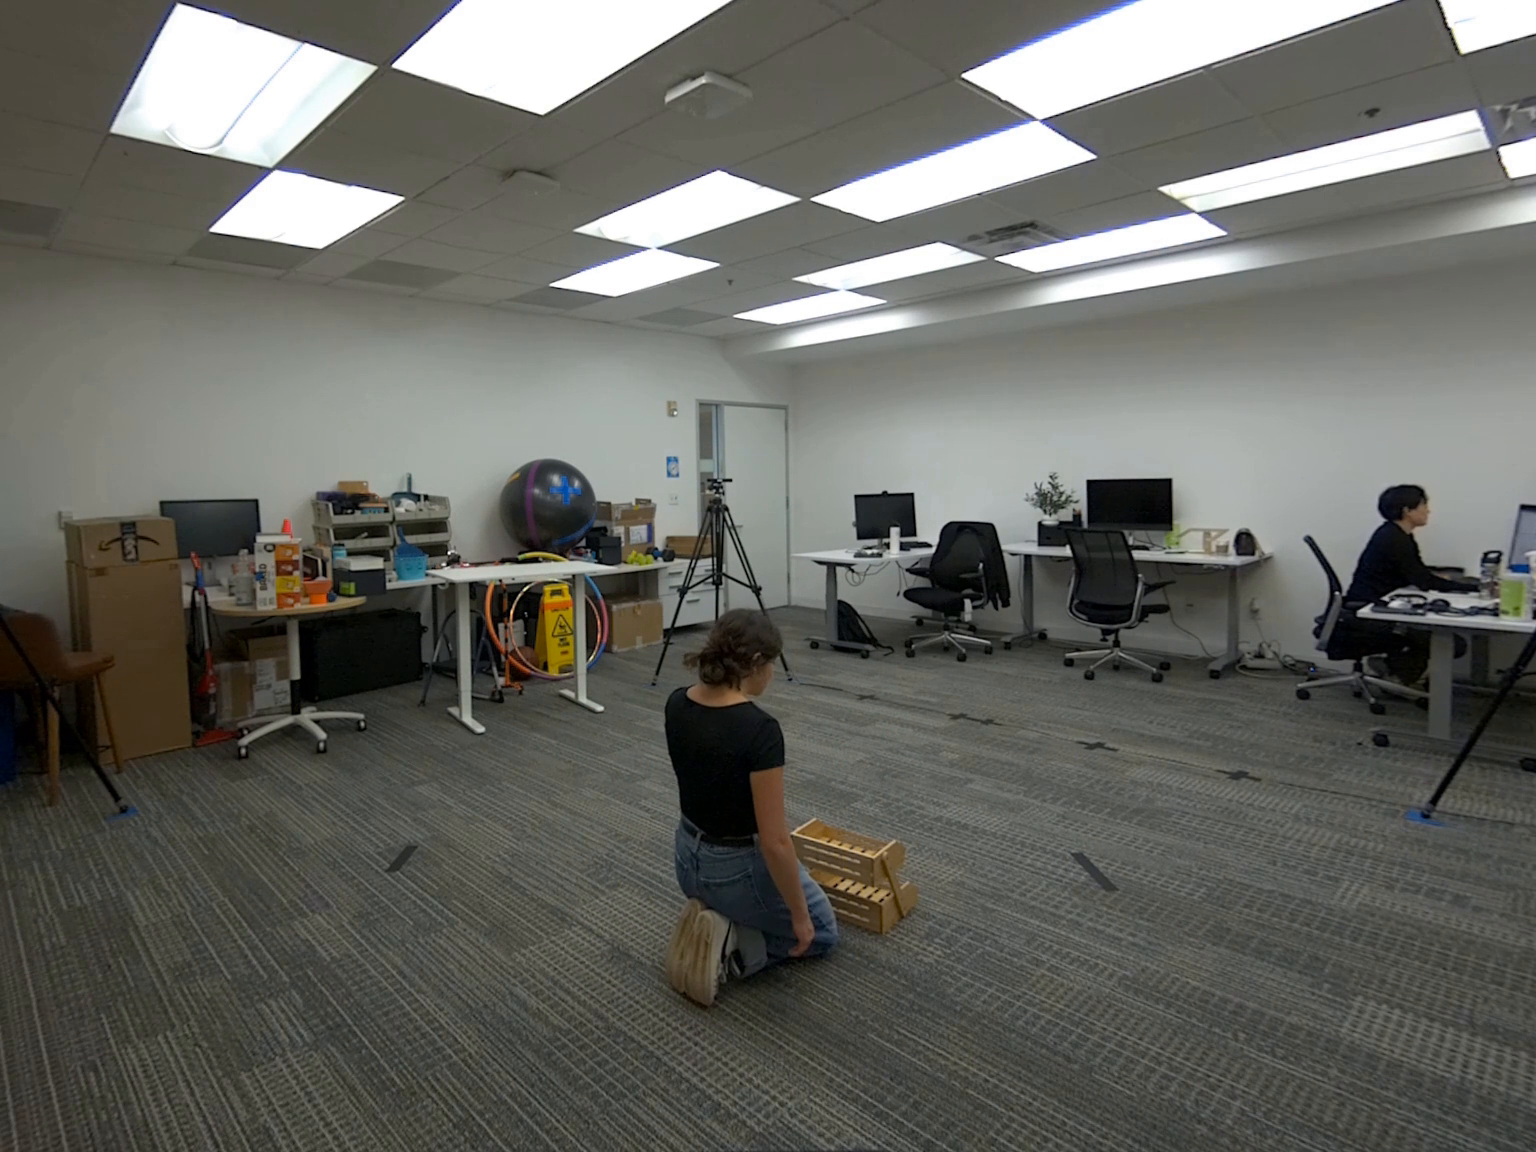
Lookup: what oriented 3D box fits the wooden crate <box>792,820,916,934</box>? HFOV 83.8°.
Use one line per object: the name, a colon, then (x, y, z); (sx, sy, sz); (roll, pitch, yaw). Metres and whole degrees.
wooden crate: (0.290, 0.946, 2.768); (0.334, 0.272, 0.295); (3, 7, 37)
